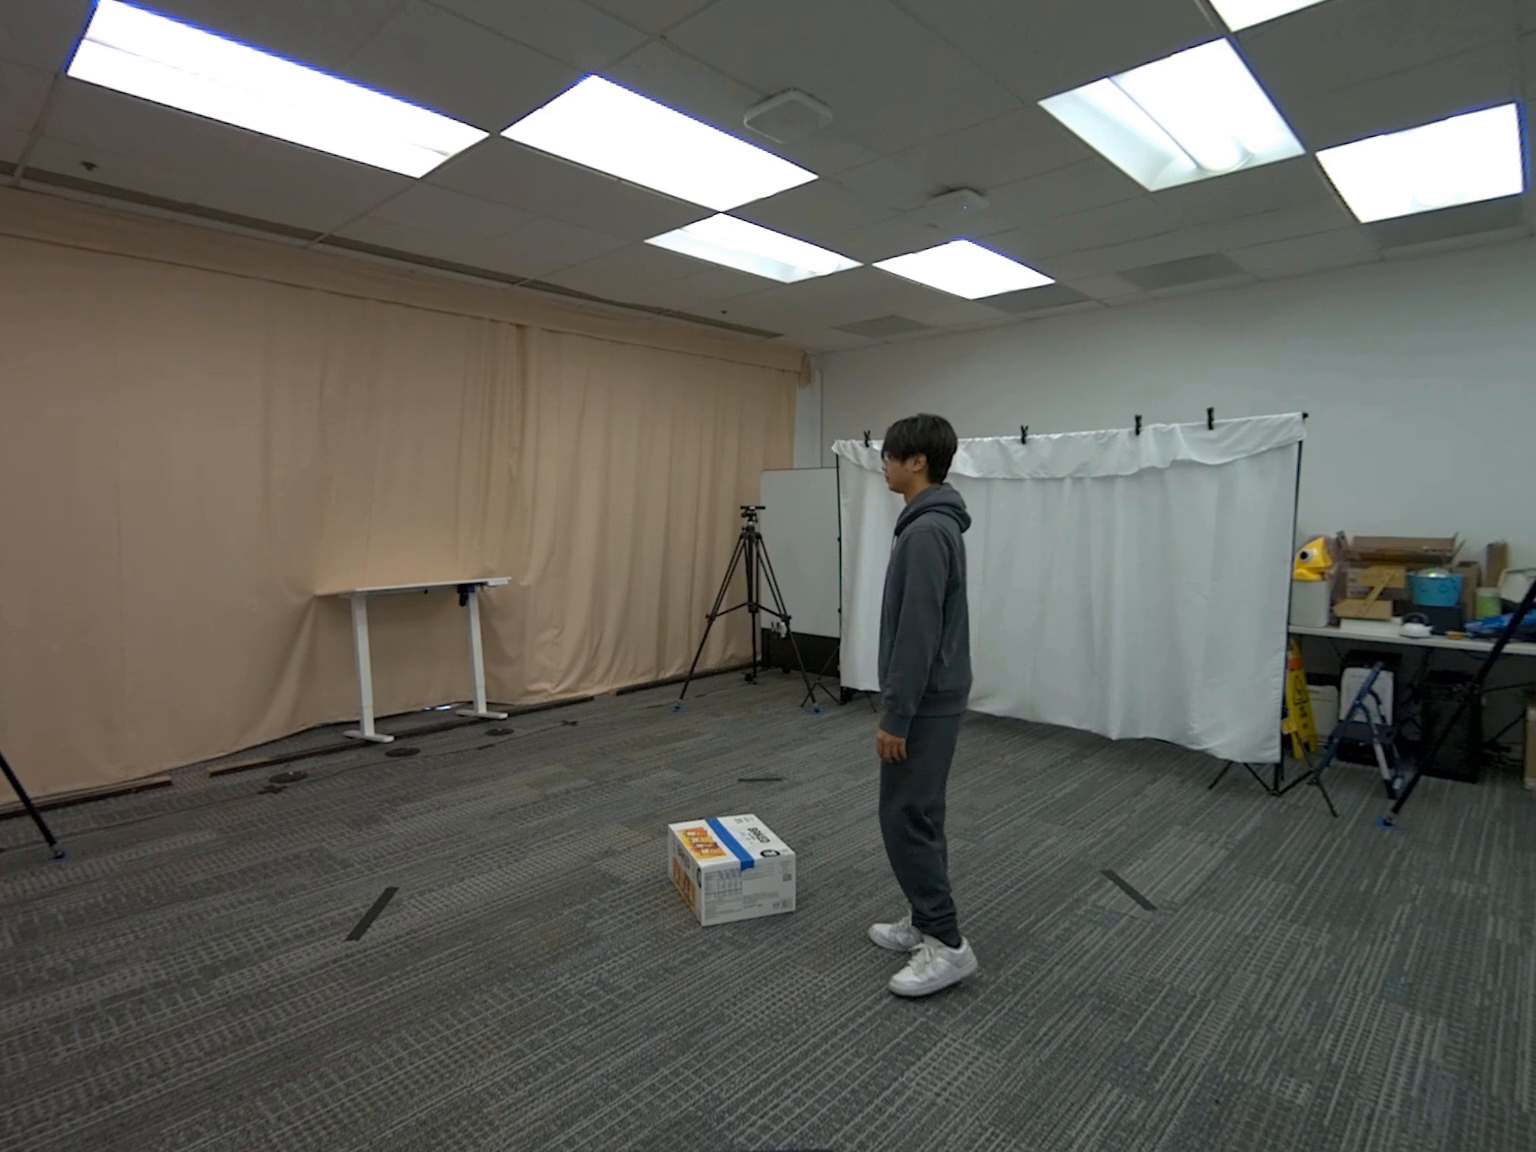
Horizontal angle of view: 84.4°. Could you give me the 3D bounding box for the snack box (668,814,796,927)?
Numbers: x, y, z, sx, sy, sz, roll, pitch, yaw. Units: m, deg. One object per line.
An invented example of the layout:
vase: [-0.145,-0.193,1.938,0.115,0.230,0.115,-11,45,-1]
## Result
snack box: [-0.136,1.040,3.012,0.333,0.205,0.414,-2,5,-21]
